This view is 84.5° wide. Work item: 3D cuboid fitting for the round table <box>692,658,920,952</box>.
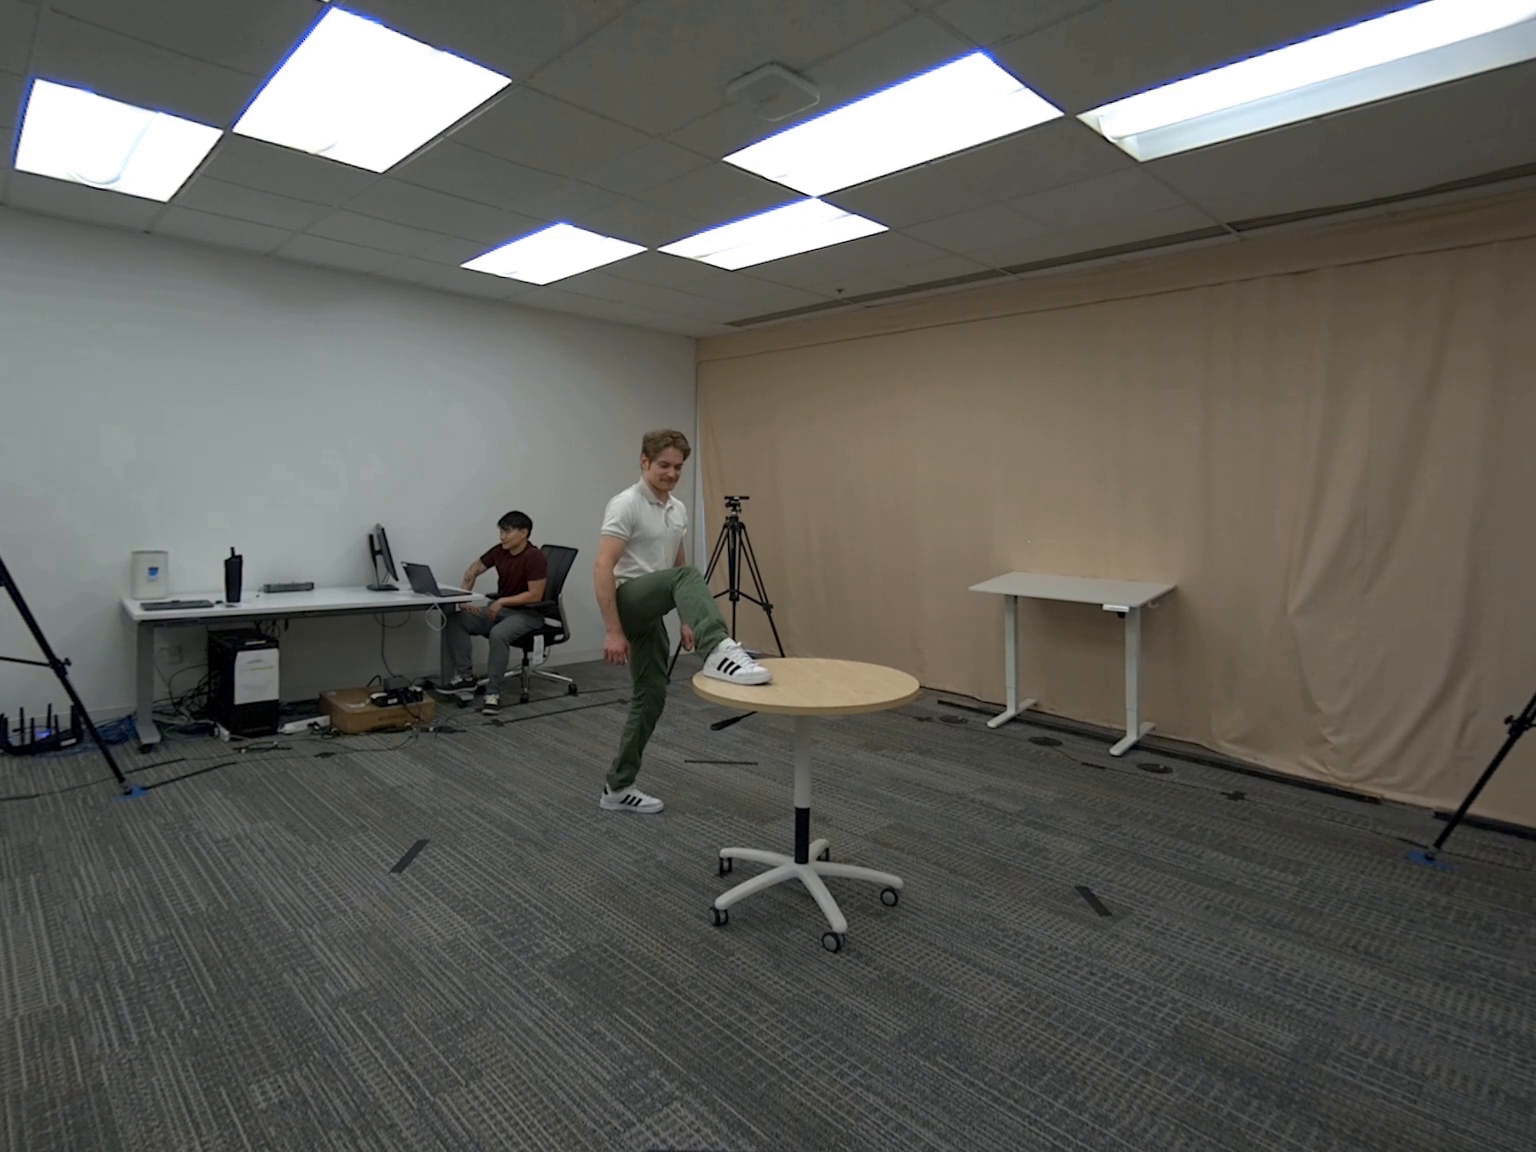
[{"bbox_3d":[0.112,0.744,2.897,0.763,0.792,0.767,1,4,-1],"label":"round table"}]
